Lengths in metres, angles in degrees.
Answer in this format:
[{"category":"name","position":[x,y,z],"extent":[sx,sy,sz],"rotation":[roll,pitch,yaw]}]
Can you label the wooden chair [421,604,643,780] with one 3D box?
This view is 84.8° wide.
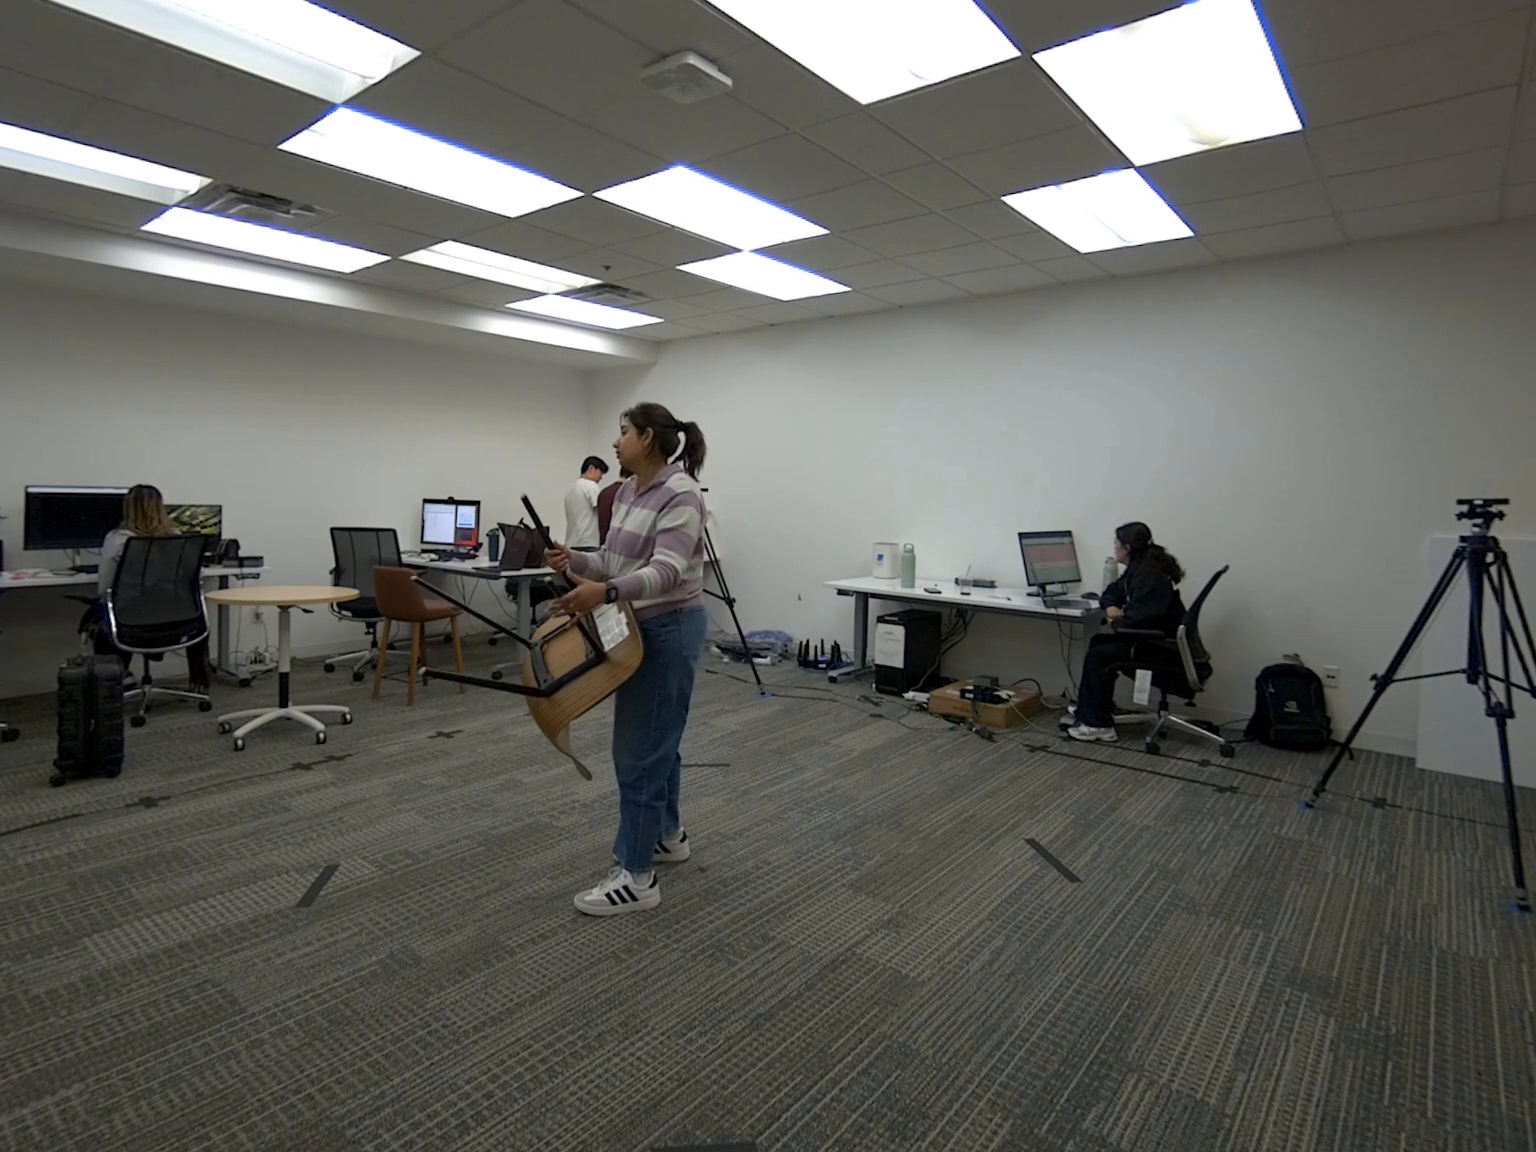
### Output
[{"category":"wooden chair","position":[-0.675,0.244,2.772],"extent":[0.523,0.842,0.498],"rotation":[-33,42,1]}]
